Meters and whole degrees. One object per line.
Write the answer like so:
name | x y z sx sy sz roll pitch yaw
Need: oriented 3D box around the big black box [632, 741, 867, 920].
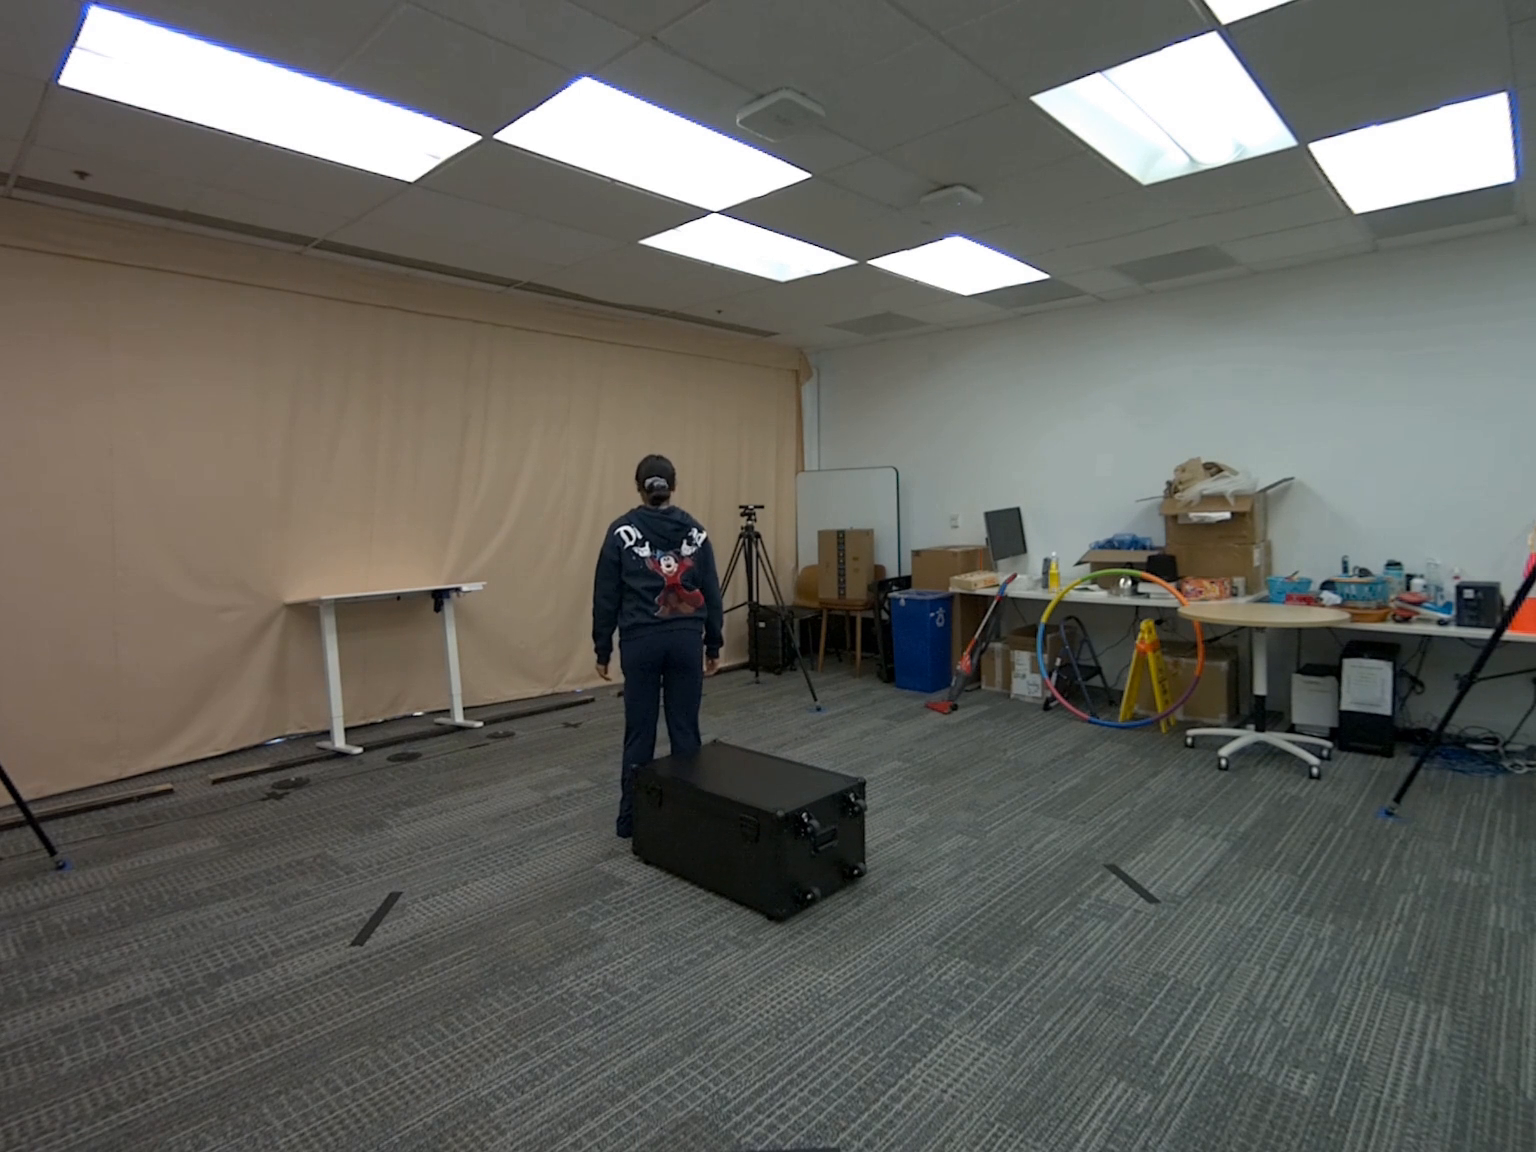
big black box | -0.063 0.935 3.183 0.890 0.395 0.505 2 5 43
